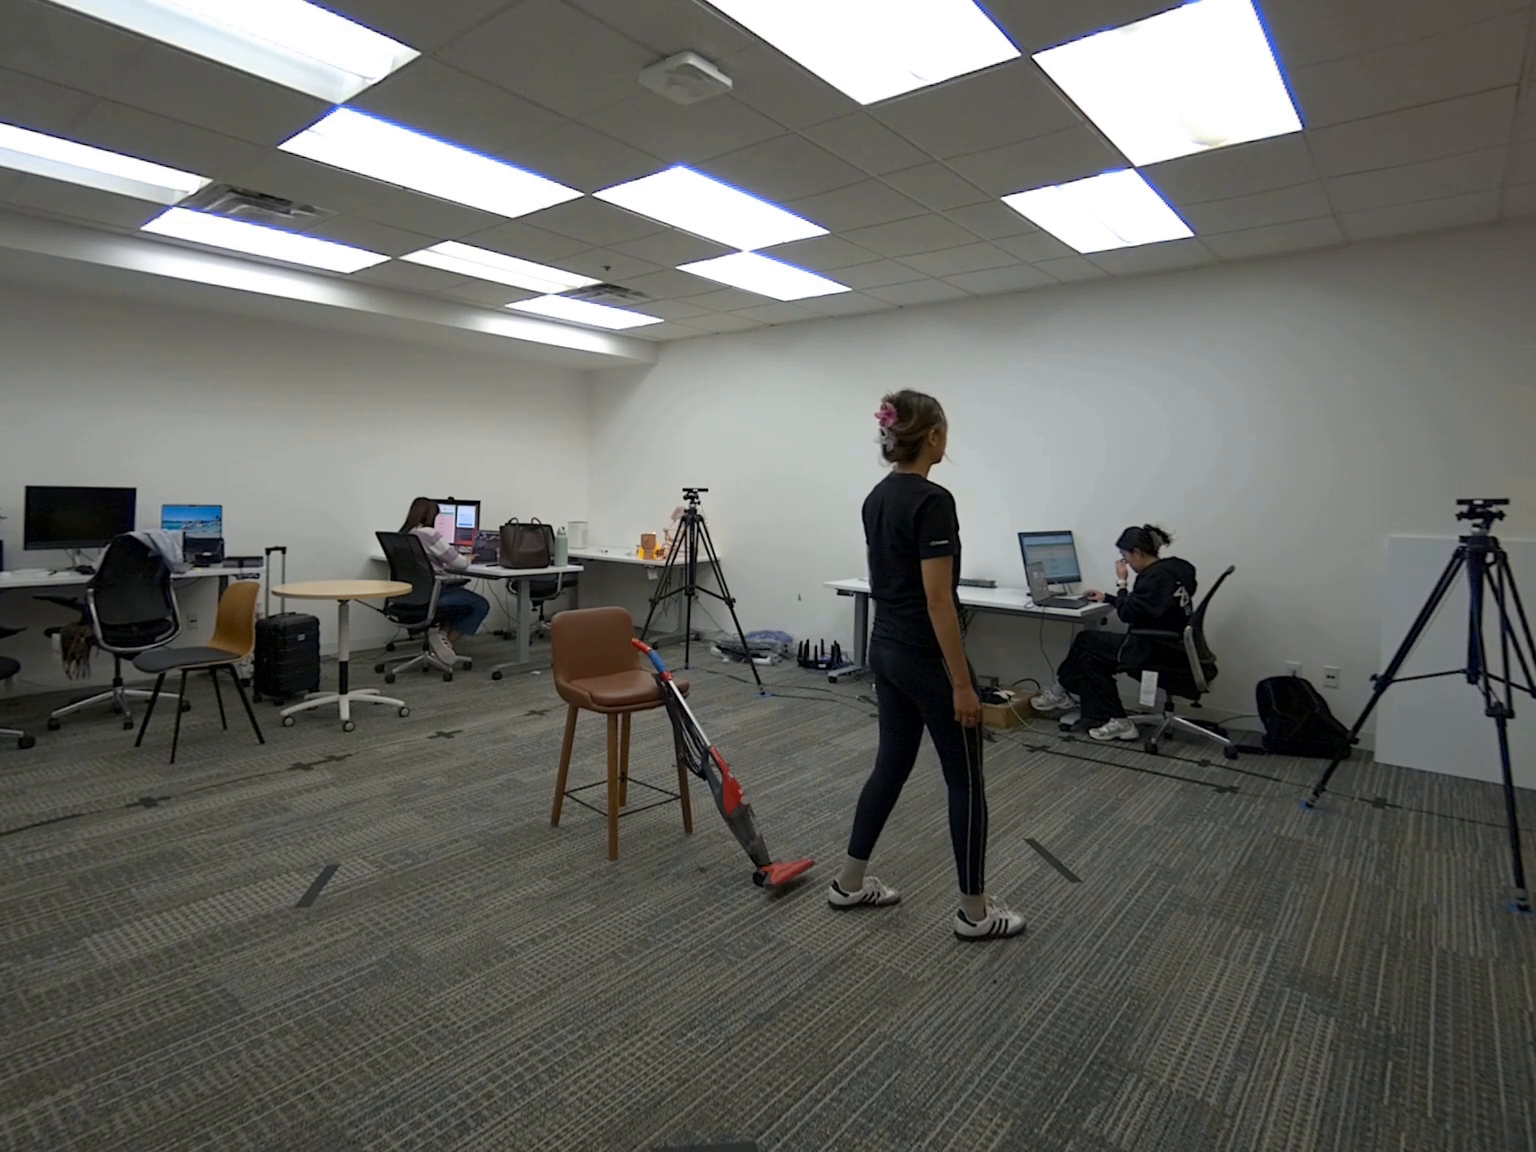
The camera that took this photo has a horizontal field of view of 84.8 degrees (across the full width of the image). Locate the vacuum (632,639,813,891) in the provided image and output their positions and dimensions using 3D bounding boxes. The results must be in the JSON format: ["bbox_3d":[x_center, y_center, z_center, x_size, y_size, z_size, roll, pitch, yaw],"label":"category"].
[{"bbox_3d":[-0.246,0.662,3.211,0.144,1.082,0.245,-48,-26,26],"label":"vacuum"}]
